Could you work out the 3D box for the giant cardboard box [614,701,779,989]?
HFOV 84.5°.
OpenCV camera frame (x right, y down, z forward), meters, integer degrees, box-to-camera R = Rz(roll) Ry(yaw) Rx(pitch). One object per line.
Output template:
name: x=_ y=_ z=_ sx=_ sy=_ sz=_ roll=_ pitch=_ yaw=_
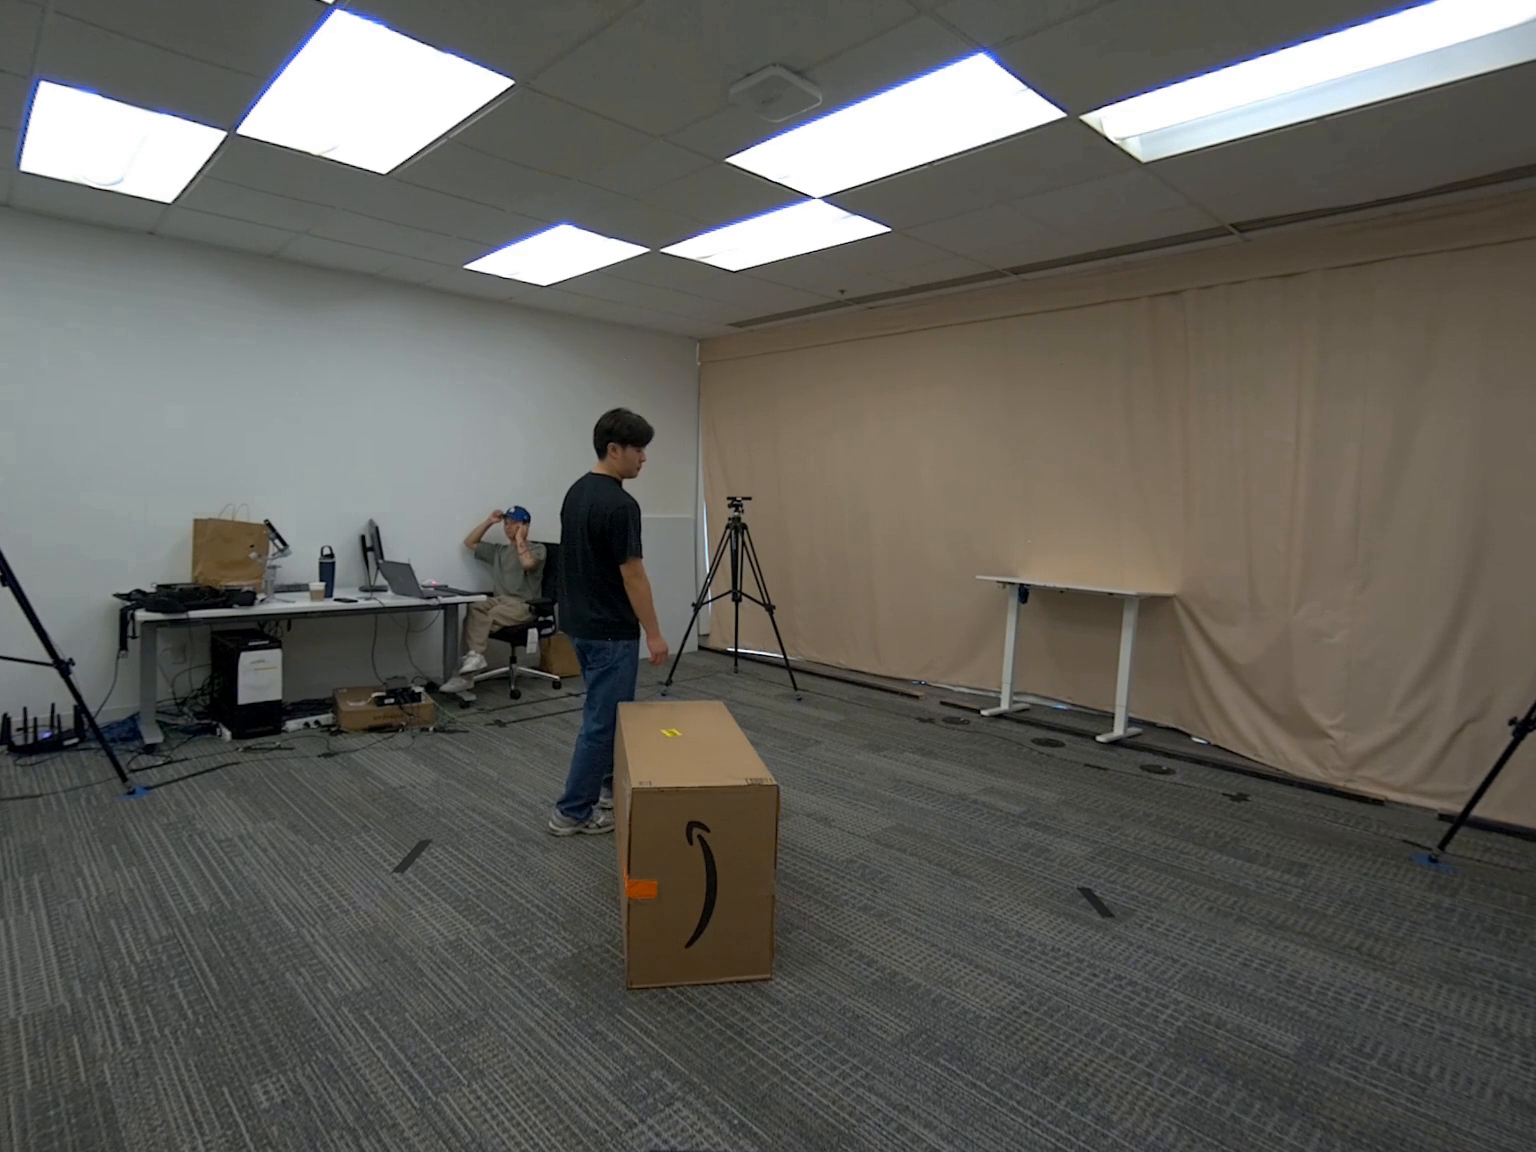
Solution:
giant cardboard box: x=-0.296 y=0.835 z=2.889 sx=0.443 sy=0.582 sz=1.039 roll=0 pitch=4 yaw=-12
